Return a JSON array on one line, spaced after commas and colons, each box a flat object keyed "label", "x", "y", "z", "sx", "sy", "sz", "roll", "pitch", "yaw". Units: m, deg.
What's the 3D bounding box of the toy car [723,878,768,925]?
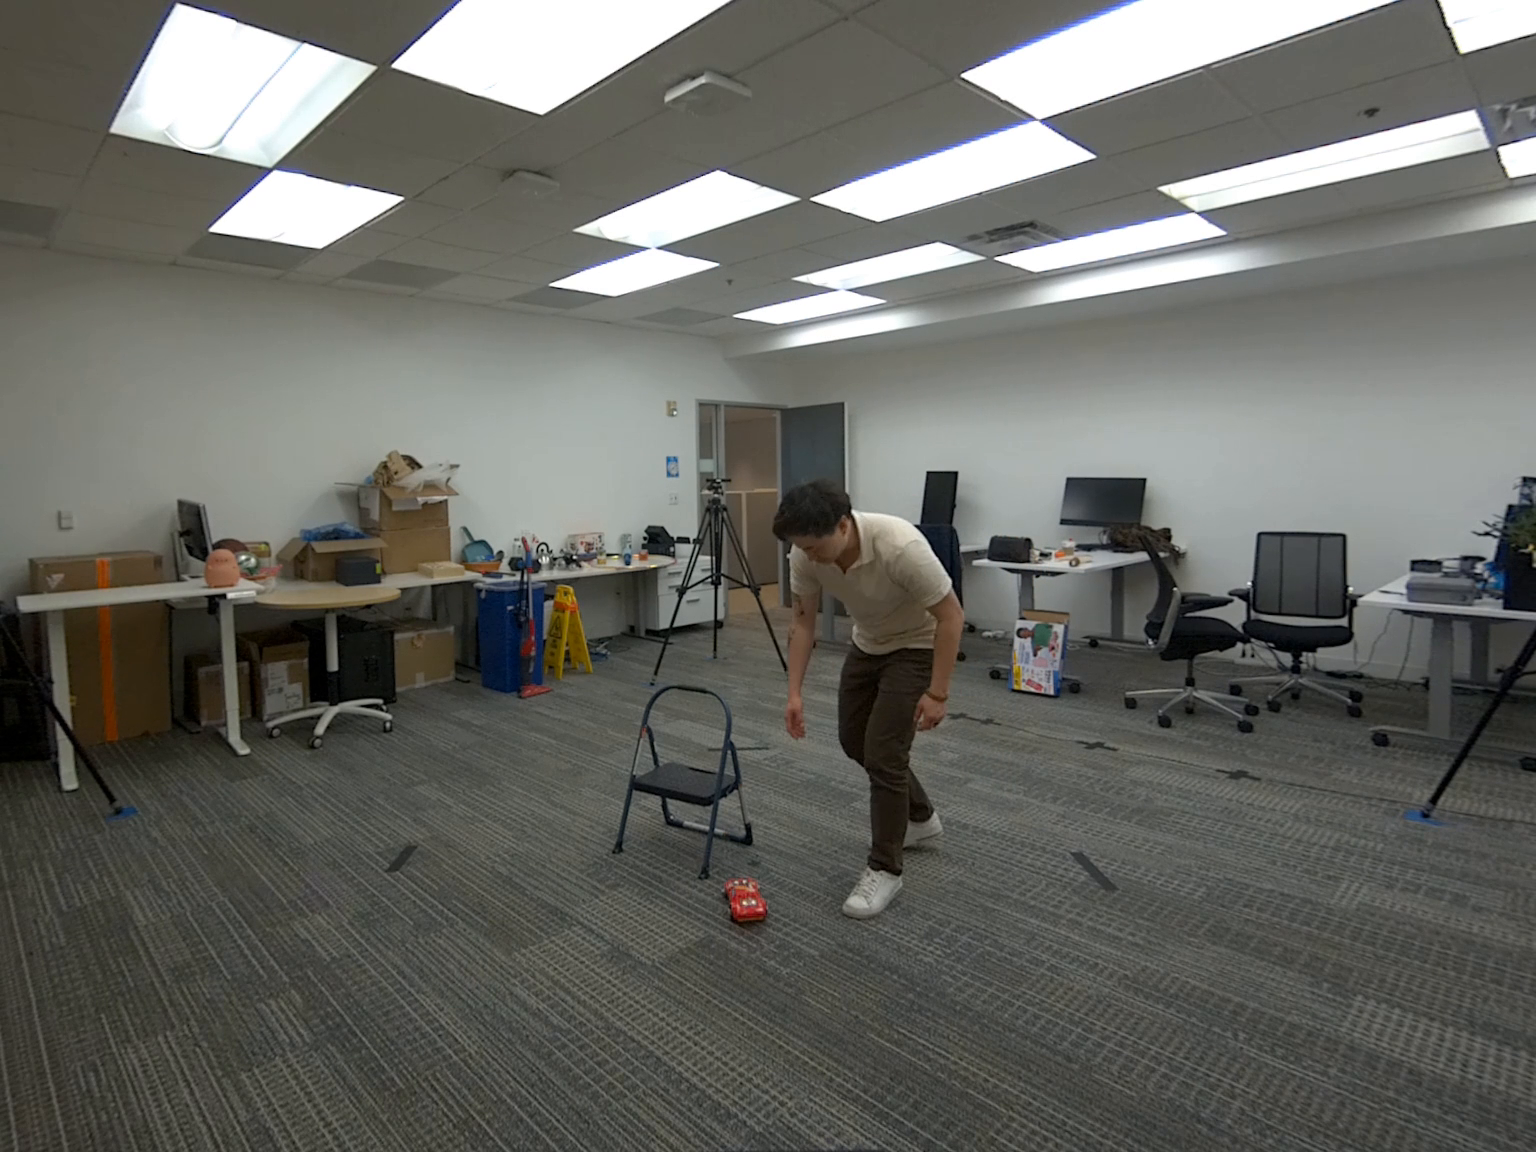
[{"label": "toy car", "x": -0.068, "y": 1.059, "z": 2.755, "sx": 0.129, "sy": 0.084, "sz": 0.255, "roll": -2, "pitch": -7, "yaw": -12}]
